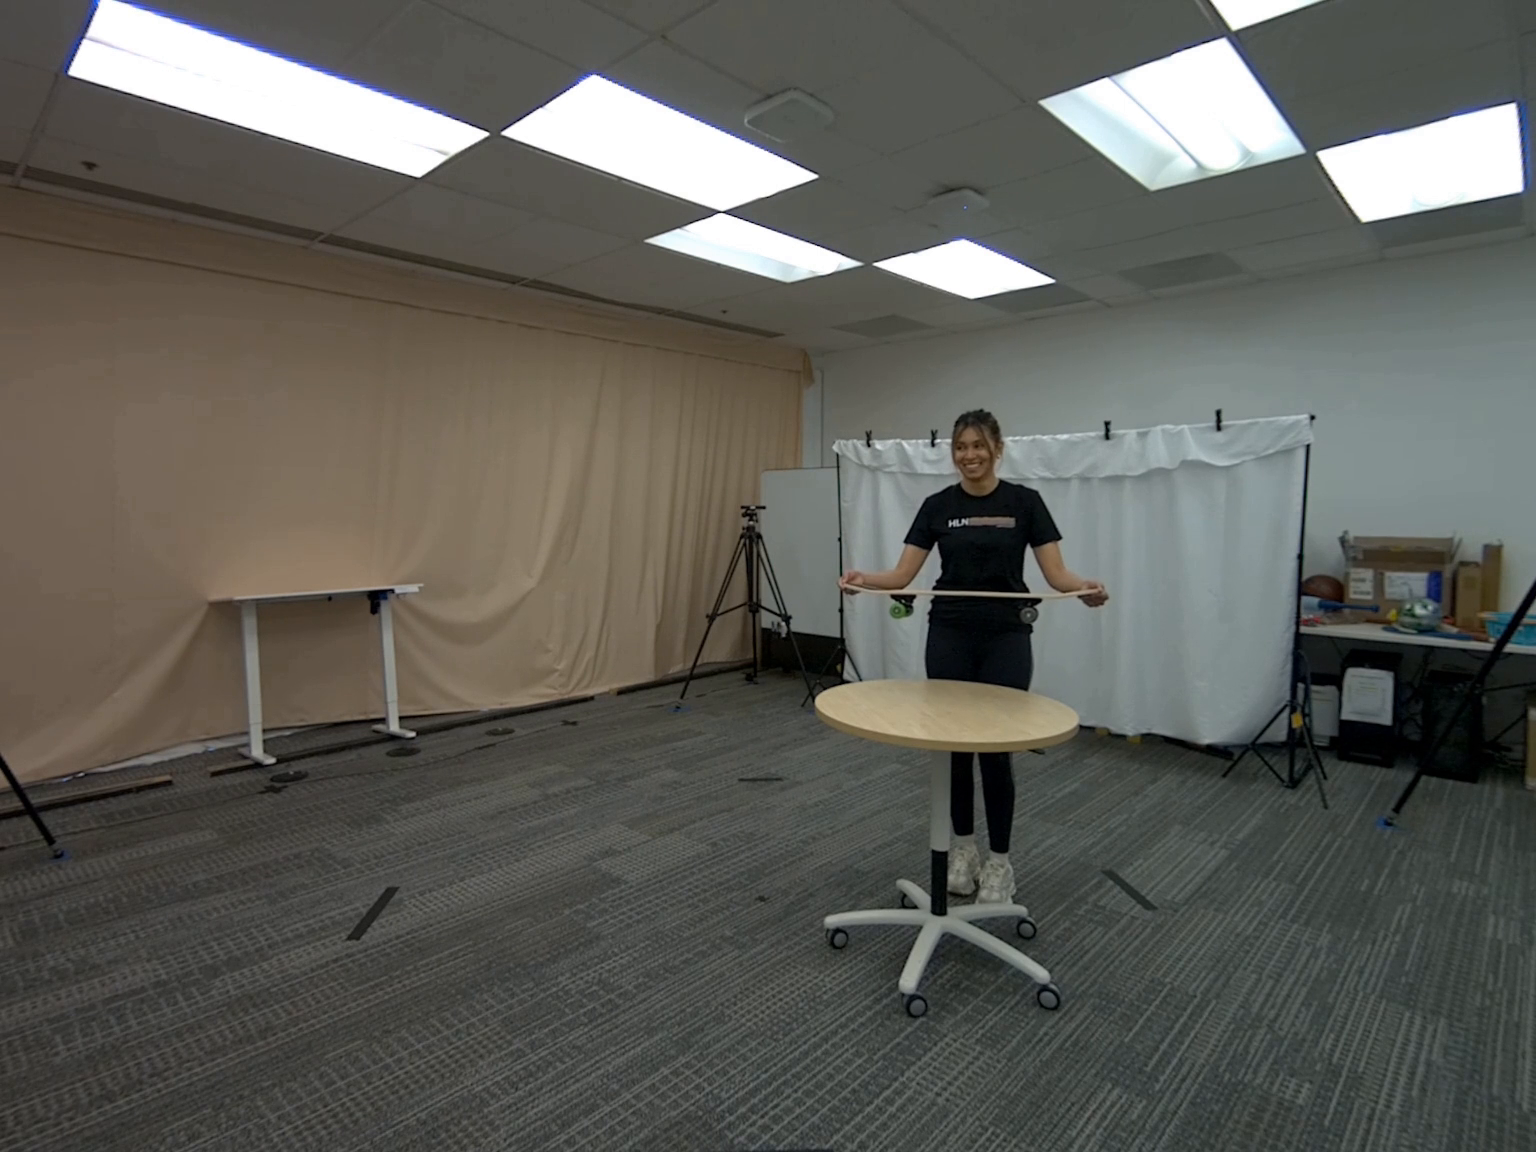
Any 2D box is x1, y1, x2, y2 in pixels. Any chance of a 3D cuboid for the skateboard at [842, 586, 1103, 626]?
[{"bbox_3d":[0.641,0.086,2.731,0.805,0.110,0.189,2,2,25],"label":"skateboard"}]
